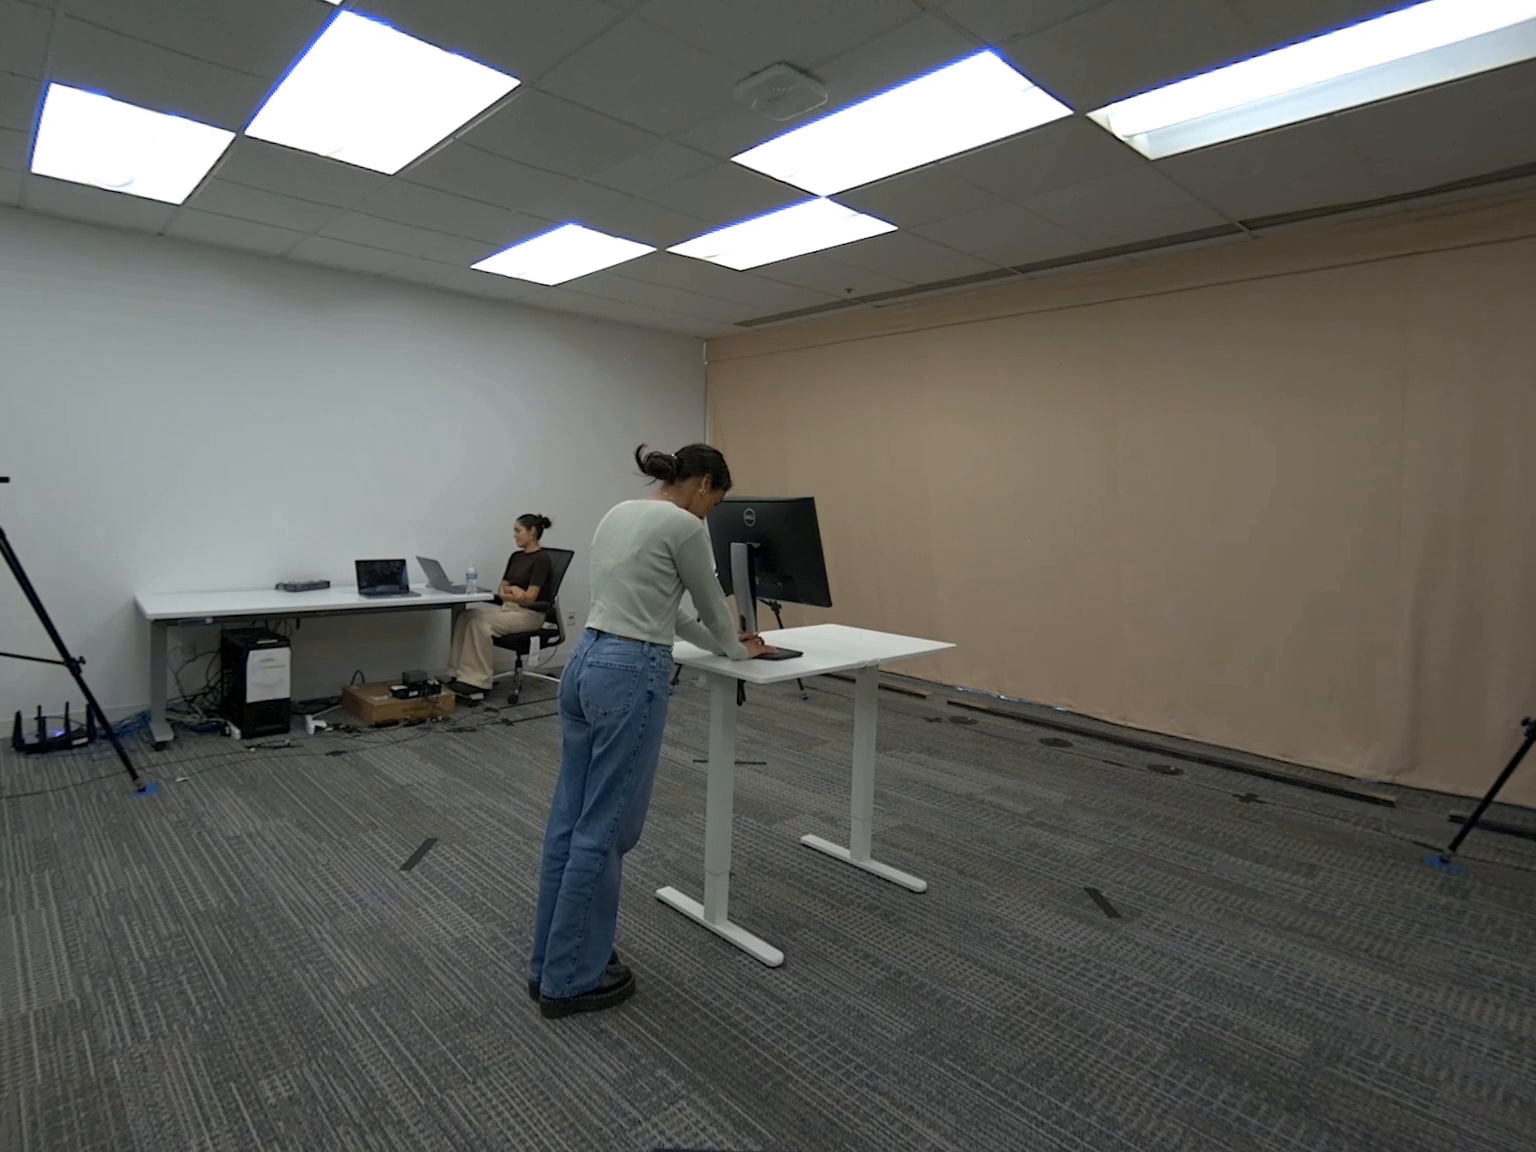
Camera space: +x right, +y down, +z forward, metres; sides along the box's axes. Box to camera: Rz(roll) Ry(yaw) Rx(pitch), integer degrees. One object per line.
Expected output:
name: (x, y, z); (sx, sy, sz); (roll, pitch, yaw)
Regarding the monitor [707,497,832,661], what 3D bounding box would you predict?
monitor: (-0.042, 0.001, 2.743); (0.183, 0.521, 0.553); (-3, 5, -42)
